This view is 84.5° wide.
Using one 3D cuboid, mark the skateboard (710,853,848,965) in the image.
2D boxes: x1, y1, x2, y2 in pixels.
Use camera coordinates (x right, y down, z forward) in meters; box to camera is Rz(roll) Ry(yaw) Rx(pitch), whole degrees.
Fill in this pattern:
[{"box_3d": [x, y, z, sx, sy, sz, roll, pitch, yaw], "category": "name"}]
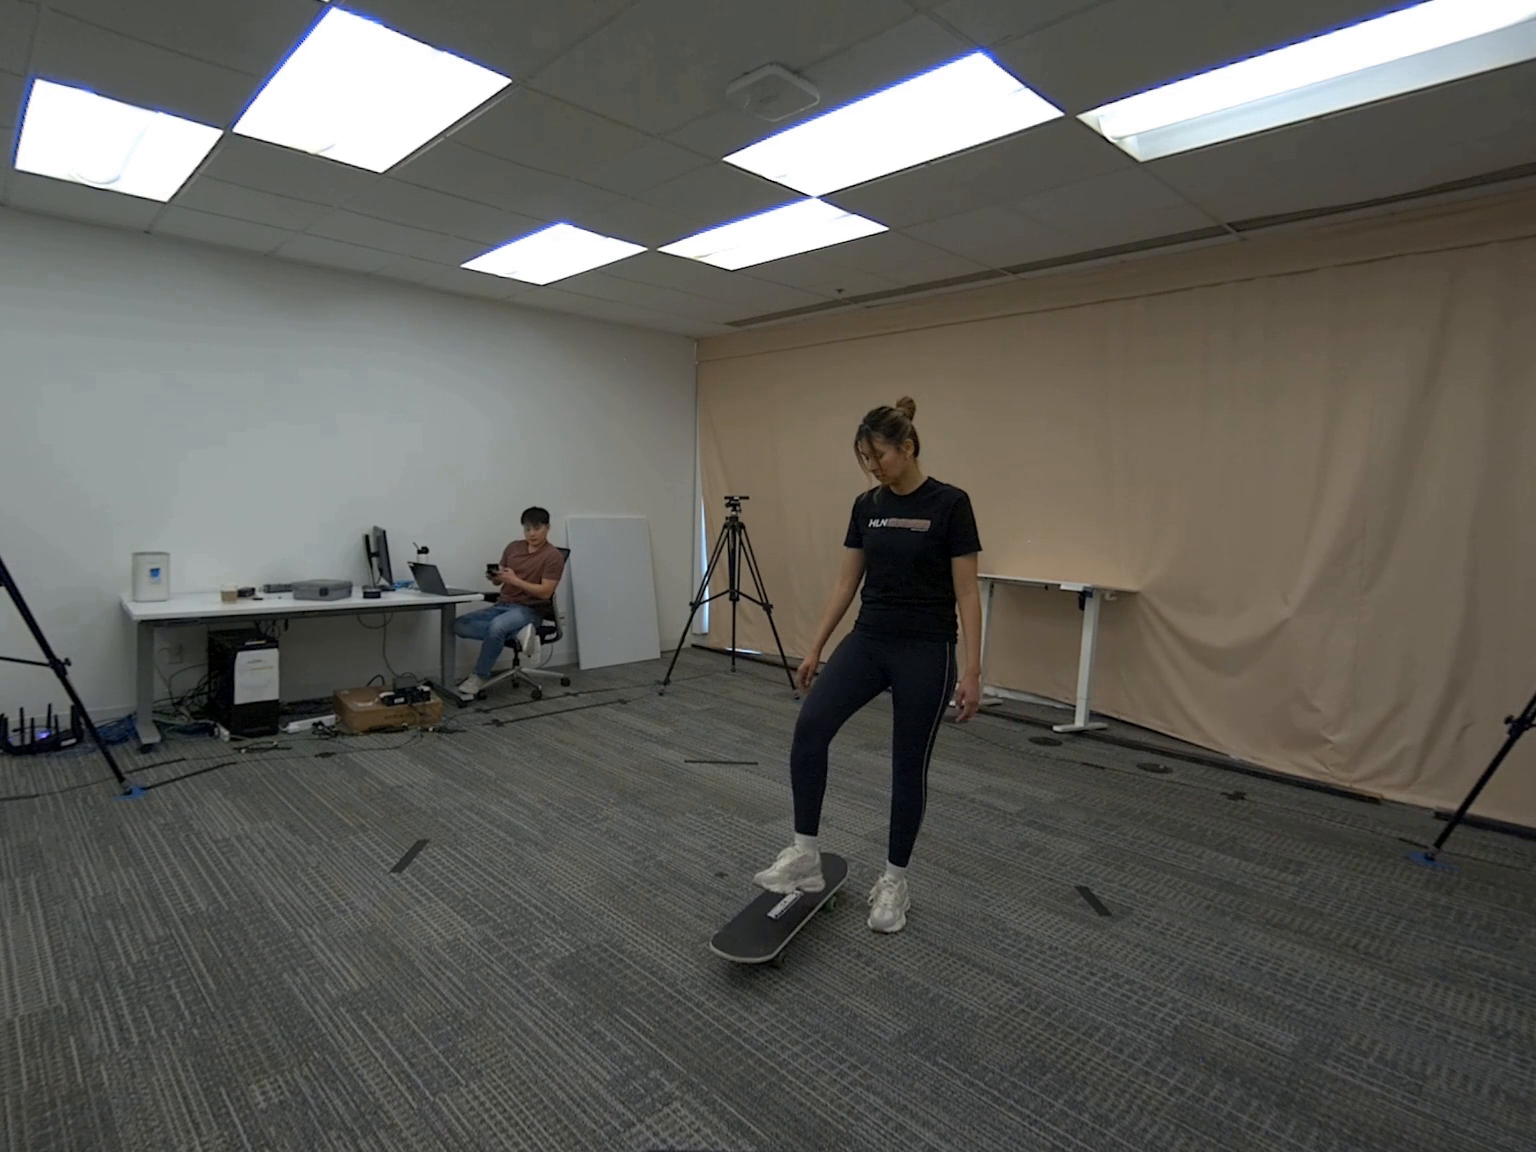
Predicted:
[{"box_3d": [0.054, 1.089, 2.706, 0.197, 0.110, 0.772, 4, 7, 26], "category": "skateboard"}]
